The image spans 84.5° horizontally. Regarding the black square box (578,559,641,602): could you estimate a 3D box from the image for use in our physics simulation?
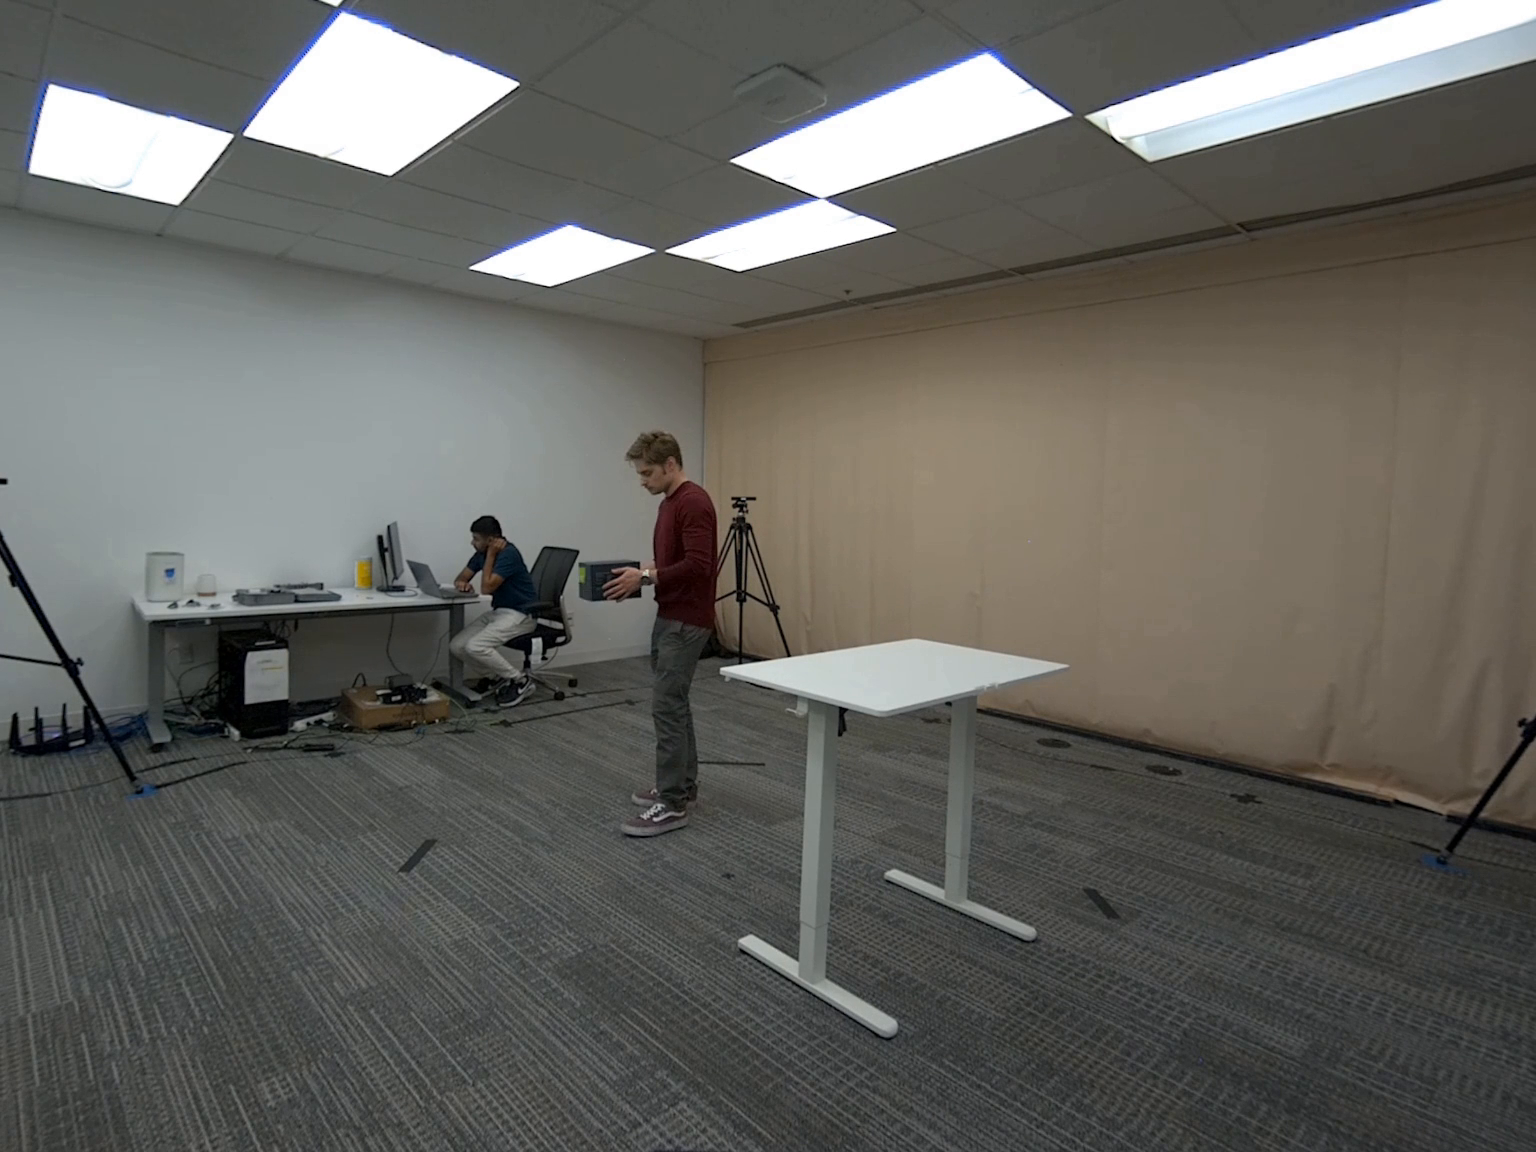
[{"bbox_3d":[-0.689,0.015,3.621,0.213,0.155,0.232,-4,4,-25],"label":"black square box"}]
